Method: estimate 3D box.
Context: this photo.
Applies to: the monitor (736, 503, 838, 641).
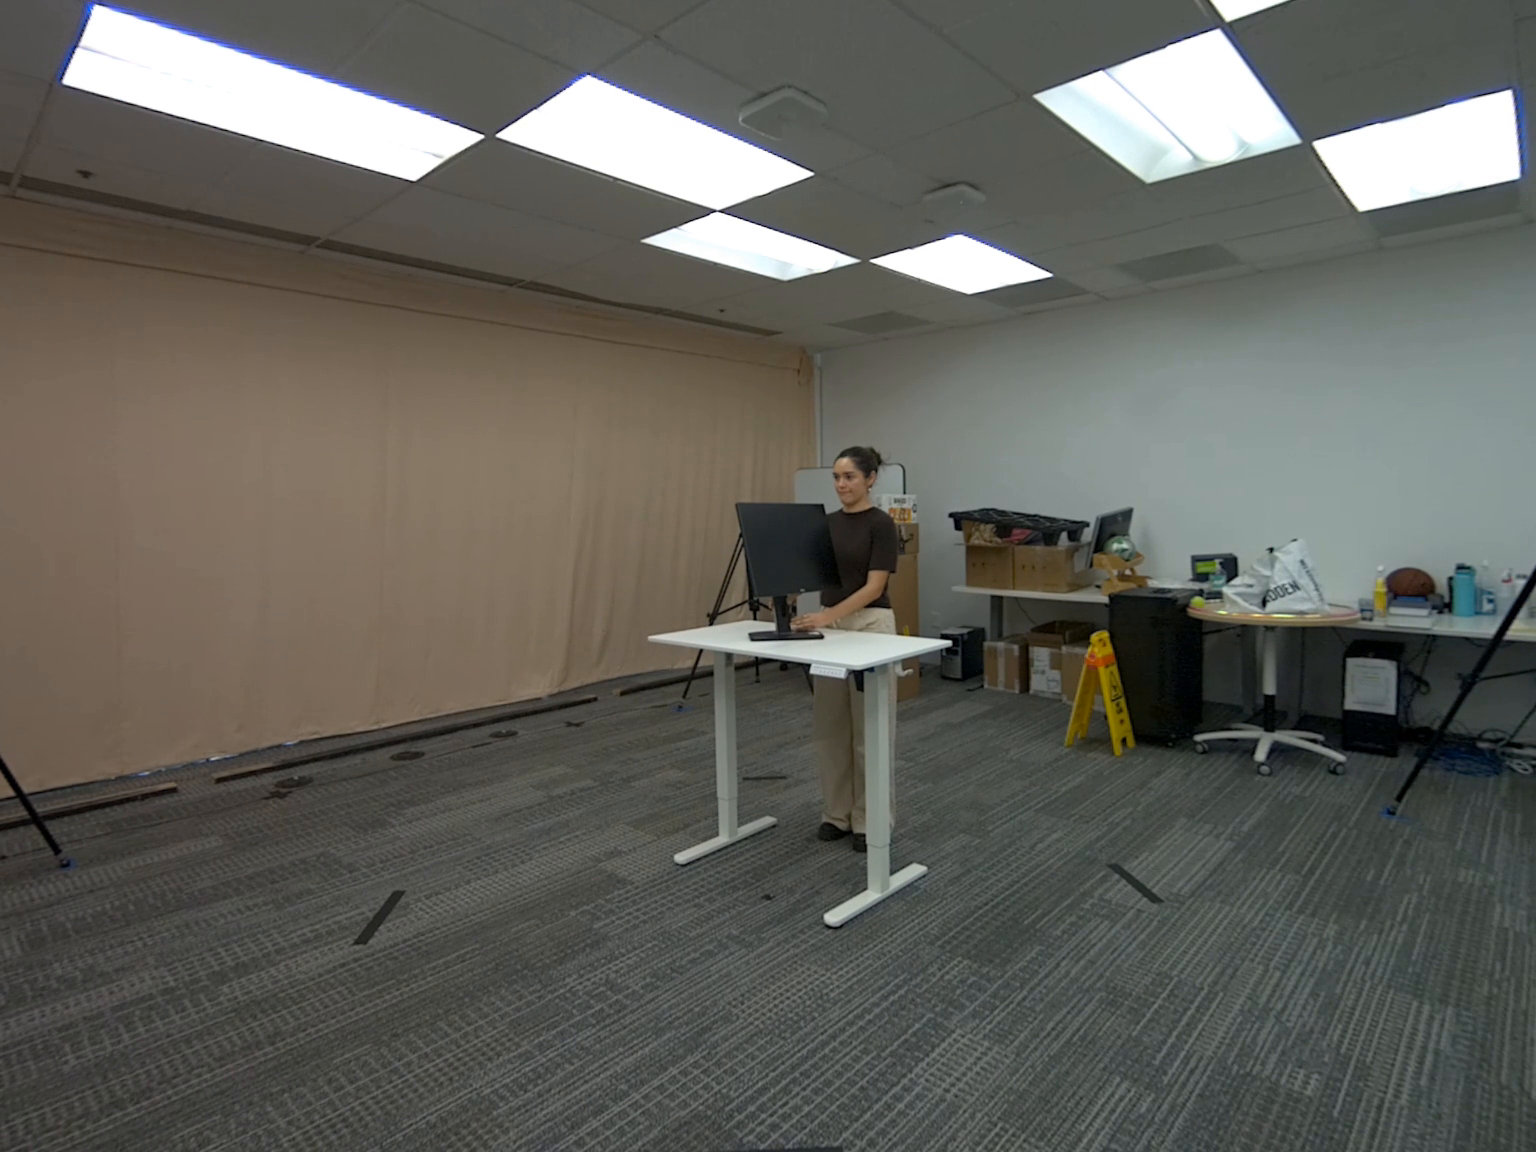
[{"bbox_3d":[0.079,-0.019,3.241,0.193,0.522,0.523,3,4,36],"label":"monitor"}]
